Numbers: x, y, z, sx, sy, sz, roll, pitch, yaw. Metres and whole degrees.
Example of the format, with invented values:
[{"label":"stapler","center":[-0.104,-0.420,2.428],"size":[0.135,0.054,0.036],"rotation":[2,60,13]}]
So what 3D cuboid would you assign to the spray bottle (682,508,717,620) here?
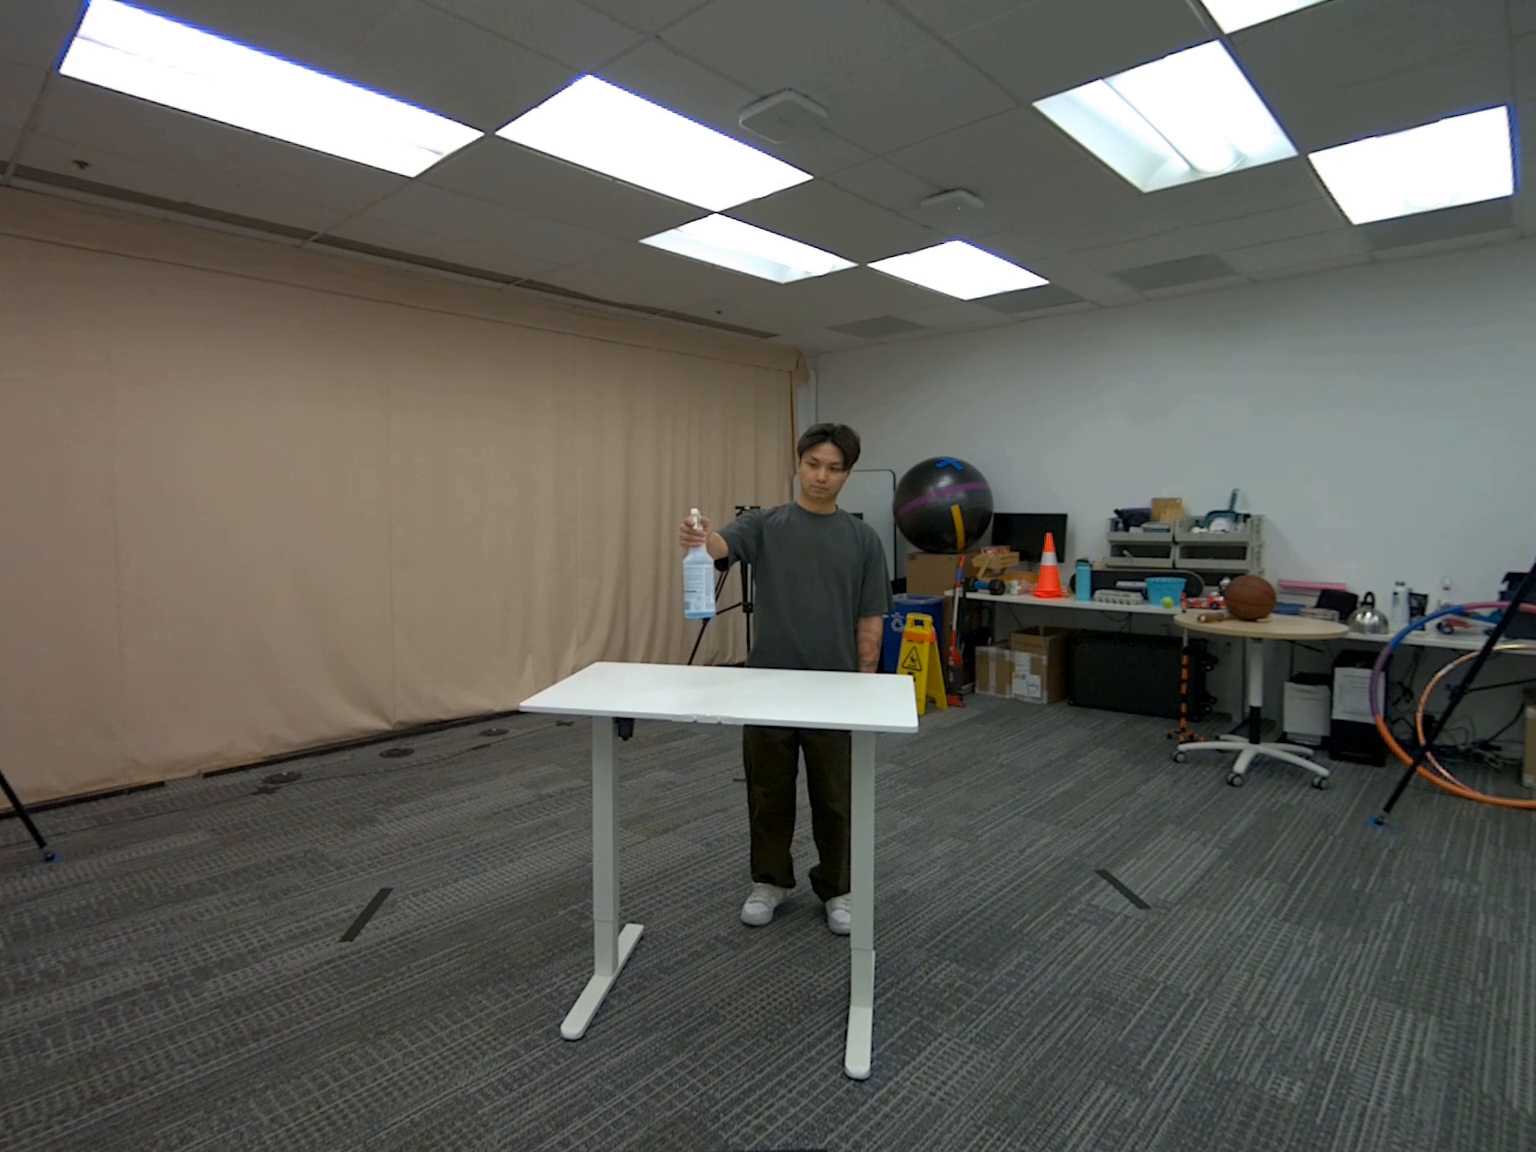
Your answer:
[{"label":"spray bottle","center":[-0.193,-0.034,2.324],"size":[0.089,0.298,0.087],"rotation":[-4,-3,30]}]
